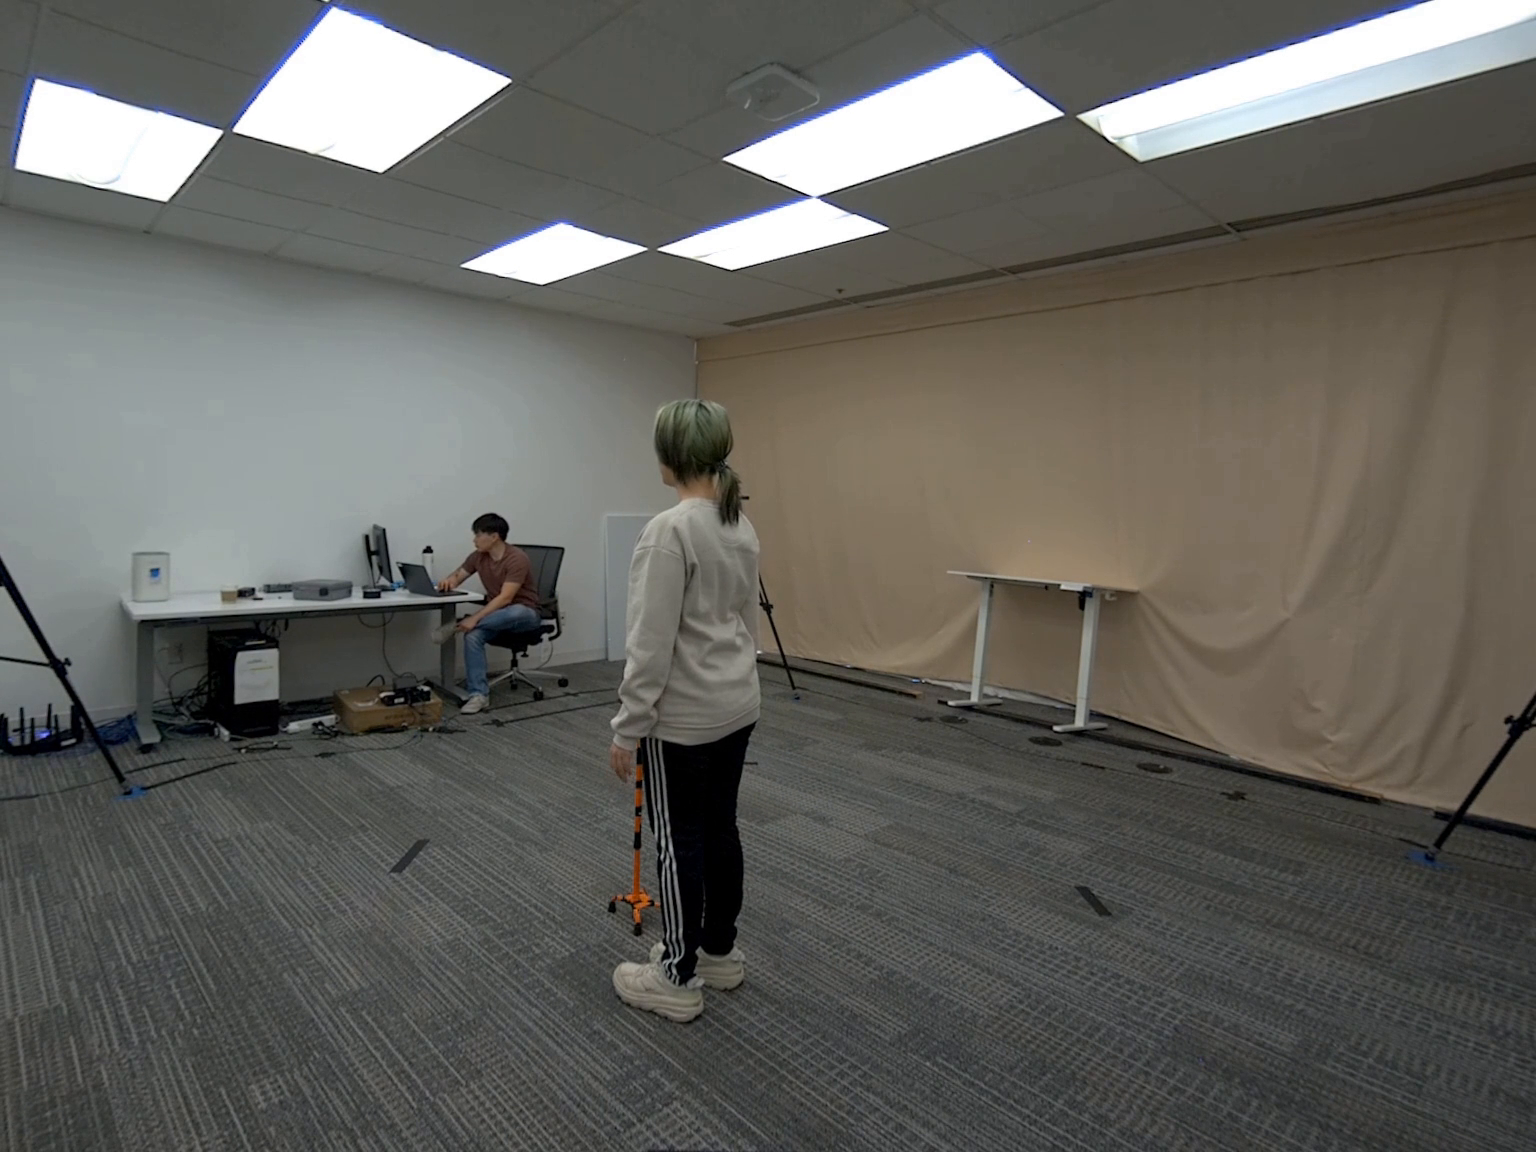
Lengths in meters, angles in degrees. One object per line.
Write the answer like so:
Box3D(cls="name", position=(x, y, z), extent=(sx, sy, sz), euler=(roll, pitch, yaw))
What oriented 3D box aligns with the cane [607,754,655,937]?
Box3D(cls="cane", position=(-0.416, 0.675, 2.757), extent=(0.148, 0.907, 0.211), euler=(0, 1, -34))
